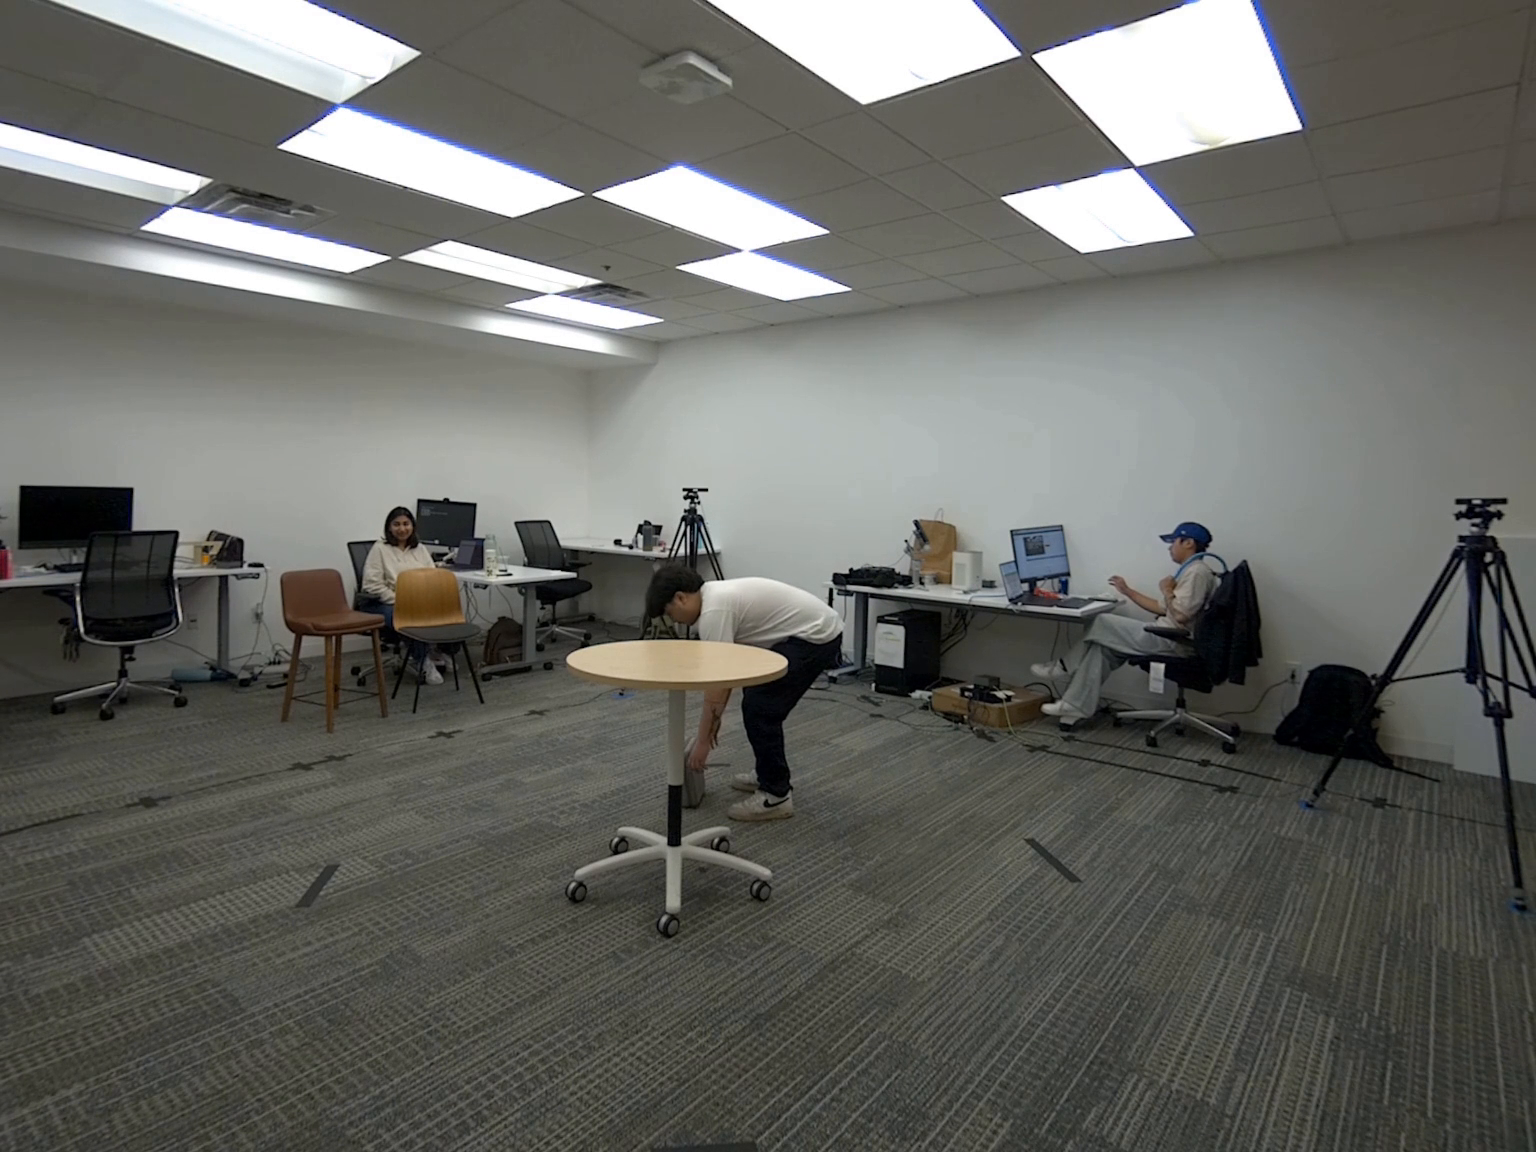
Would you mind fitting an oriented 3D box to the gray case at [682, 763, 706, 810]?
[{"bbox_3d":[-0.388,0.881,3.816,0.105,0.260,0.256,-11,2,5],"label":"gray case"}]
